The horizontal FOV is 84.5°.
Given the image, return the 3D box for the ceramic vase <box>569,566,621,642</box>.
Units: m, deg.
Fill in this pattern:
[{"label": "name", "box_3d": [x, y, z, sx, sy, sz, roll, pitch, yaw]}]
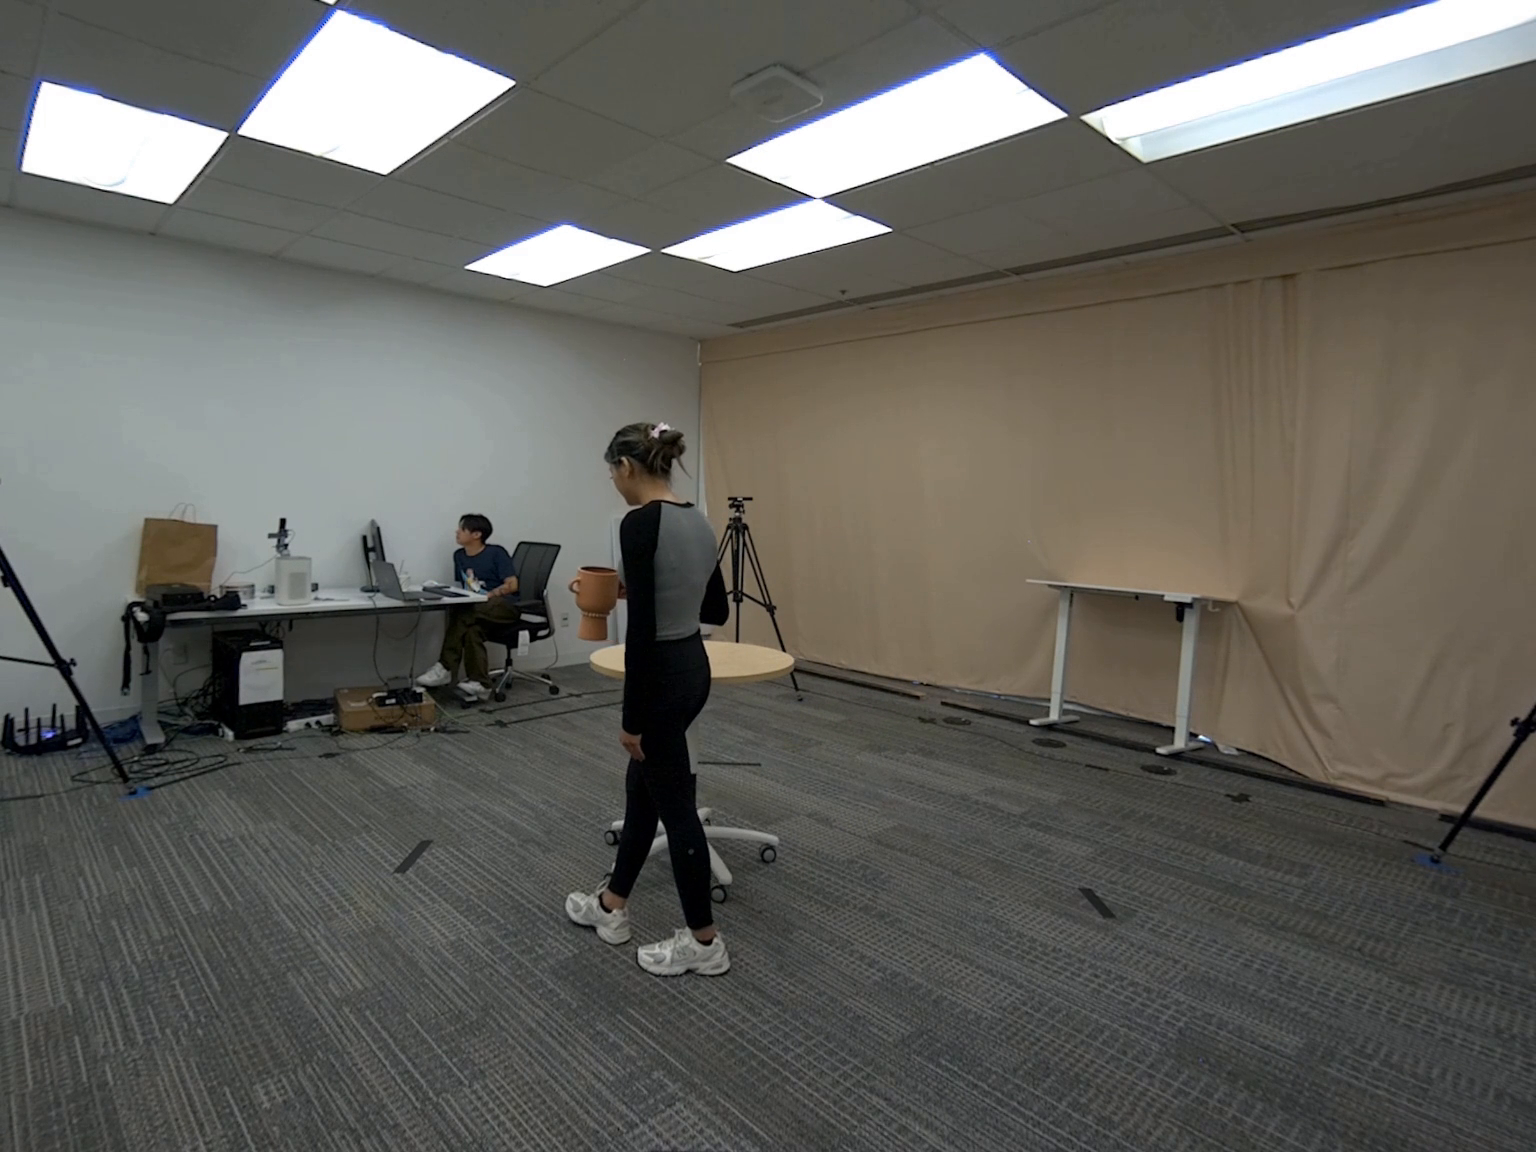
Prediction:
[{"label": "ceramic vase", "box_3d": [-0.549, 0.090, 2.661, 0.159, 0.219, 0.135, 5, 7, 0]}]
